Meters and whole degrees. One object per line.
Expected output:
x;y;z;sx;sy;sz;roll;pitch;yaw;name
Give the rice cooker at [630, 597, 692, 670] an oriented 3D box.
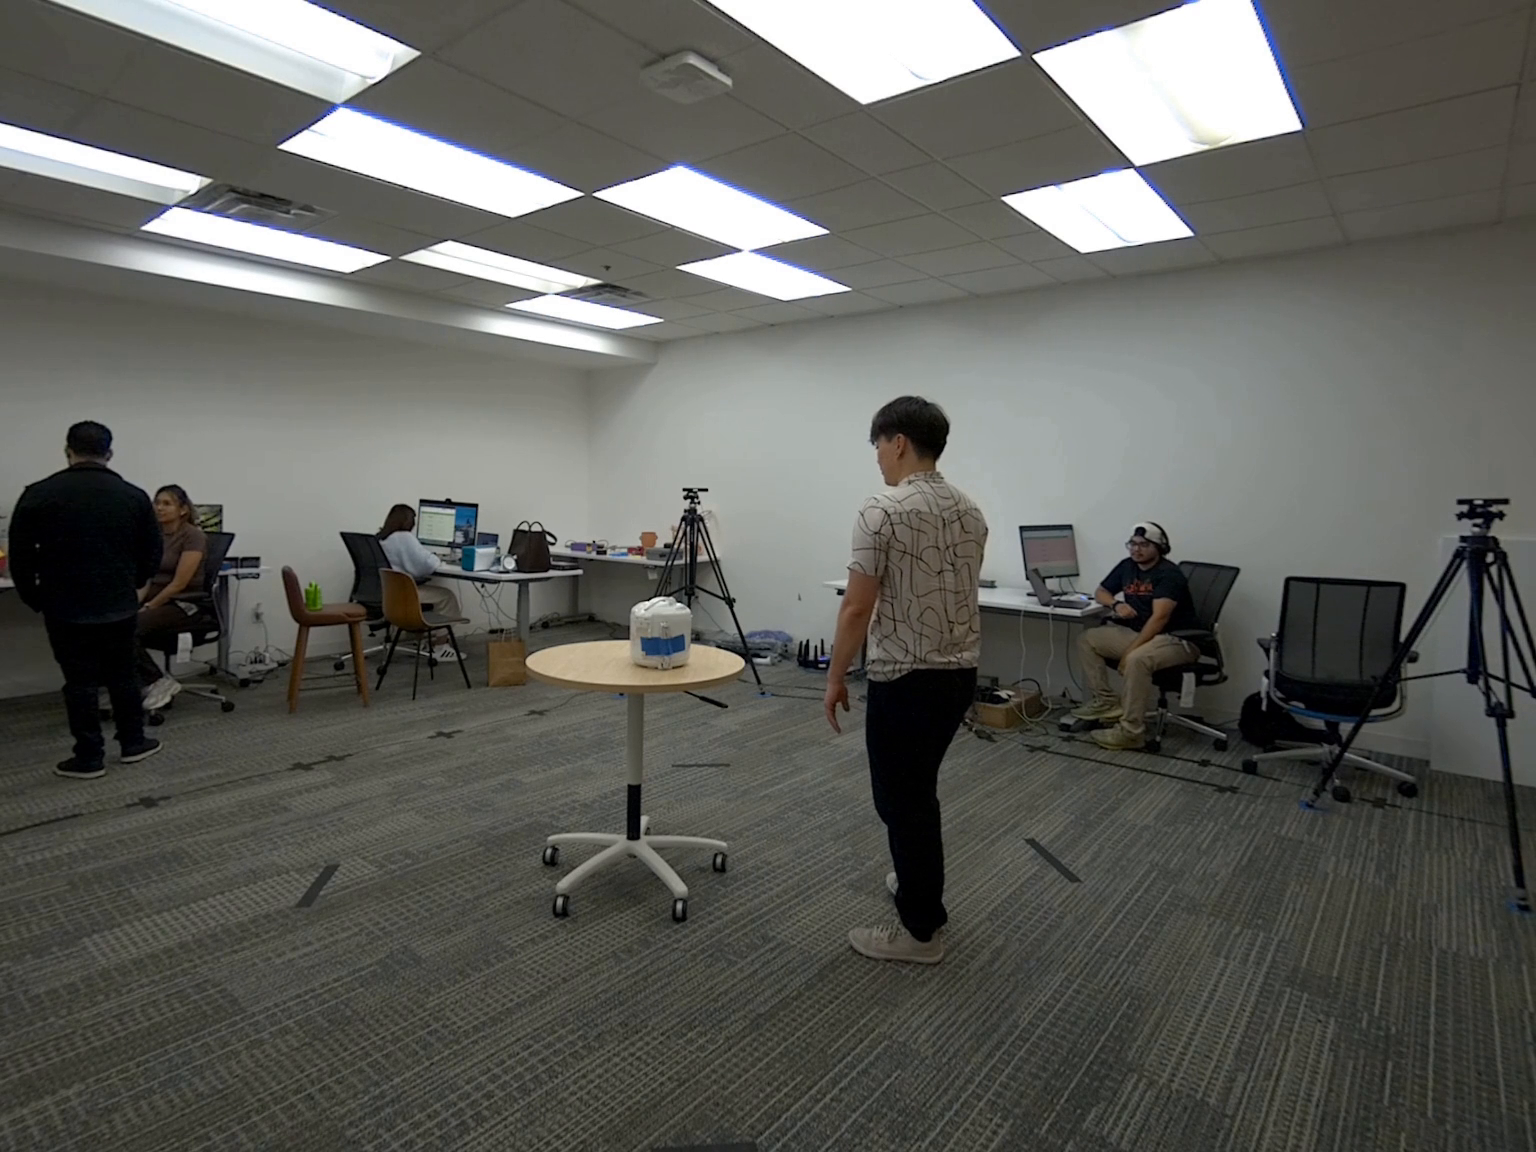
-0.383;0.187;2.934;0.224;0.232;0.215;5;5;31;rice cooker
